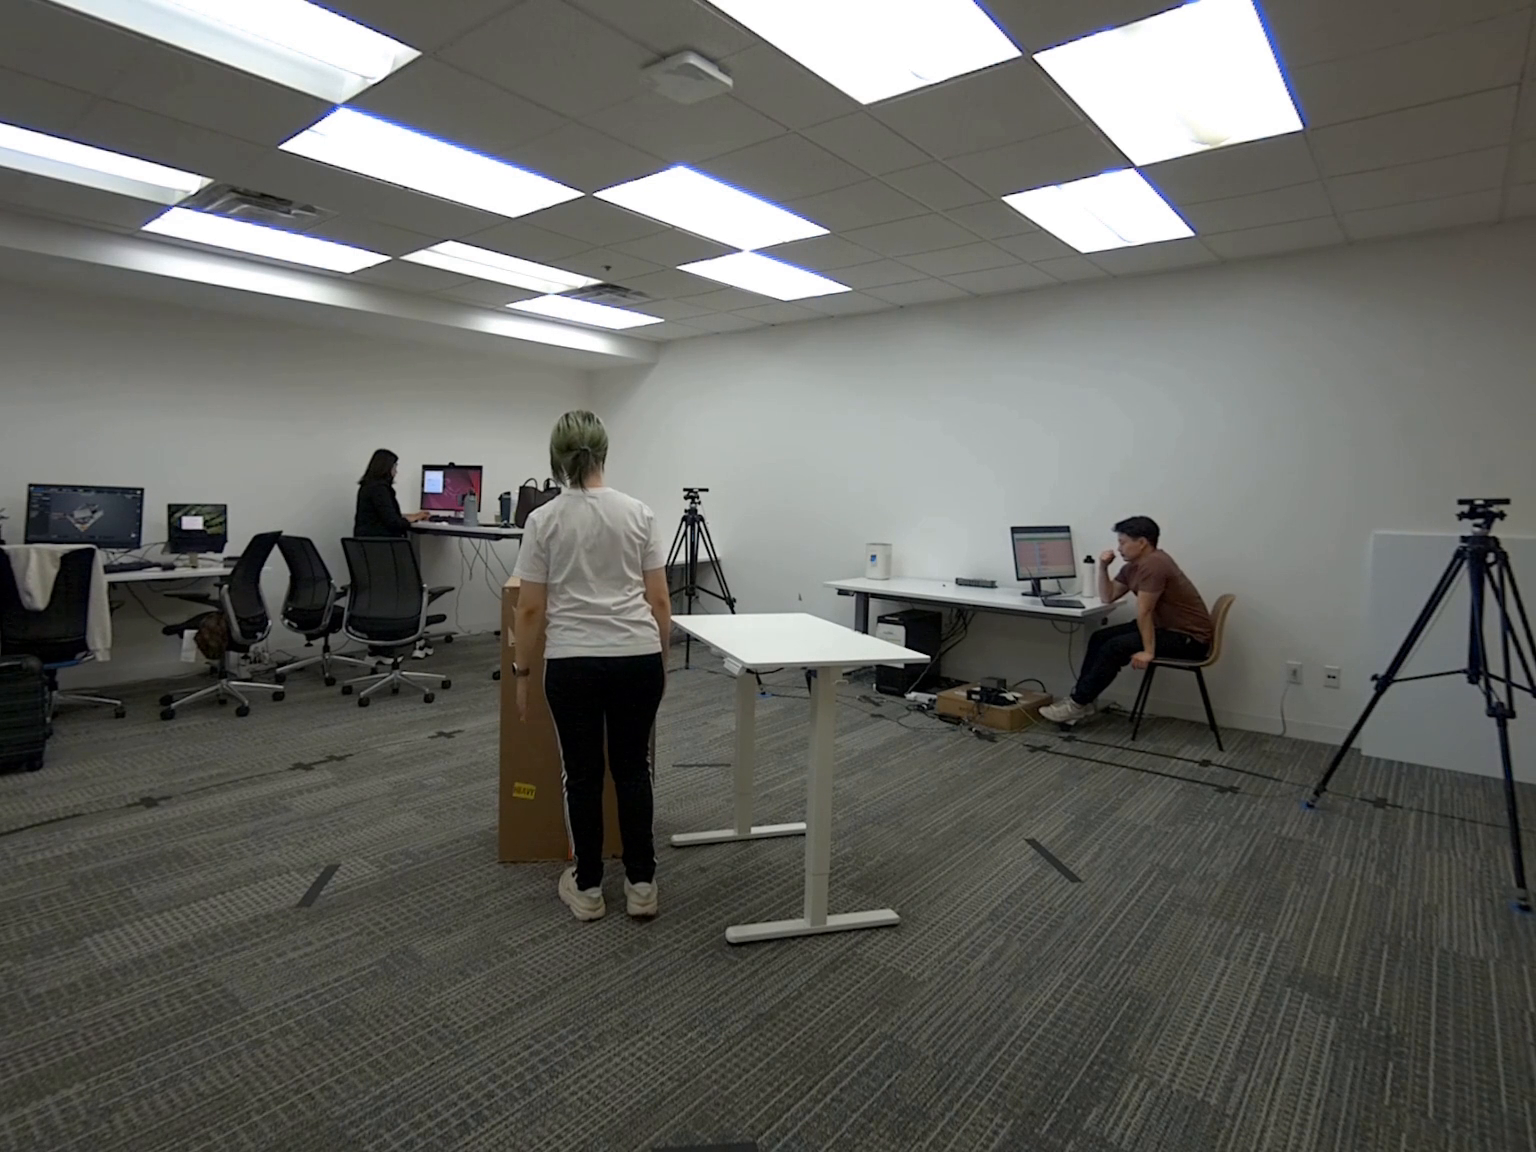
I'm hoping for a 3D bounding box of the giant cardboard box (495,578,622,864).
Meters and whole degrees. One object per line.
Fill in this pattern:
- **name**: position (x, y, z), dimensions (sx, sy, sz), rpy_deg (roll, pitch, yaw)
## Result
- **giant cardboard box**: position (-0.760, 0.528, 3.353), dimensions (0.577, 1.025, 0.453), rpy_deg (1, 2, -12)
